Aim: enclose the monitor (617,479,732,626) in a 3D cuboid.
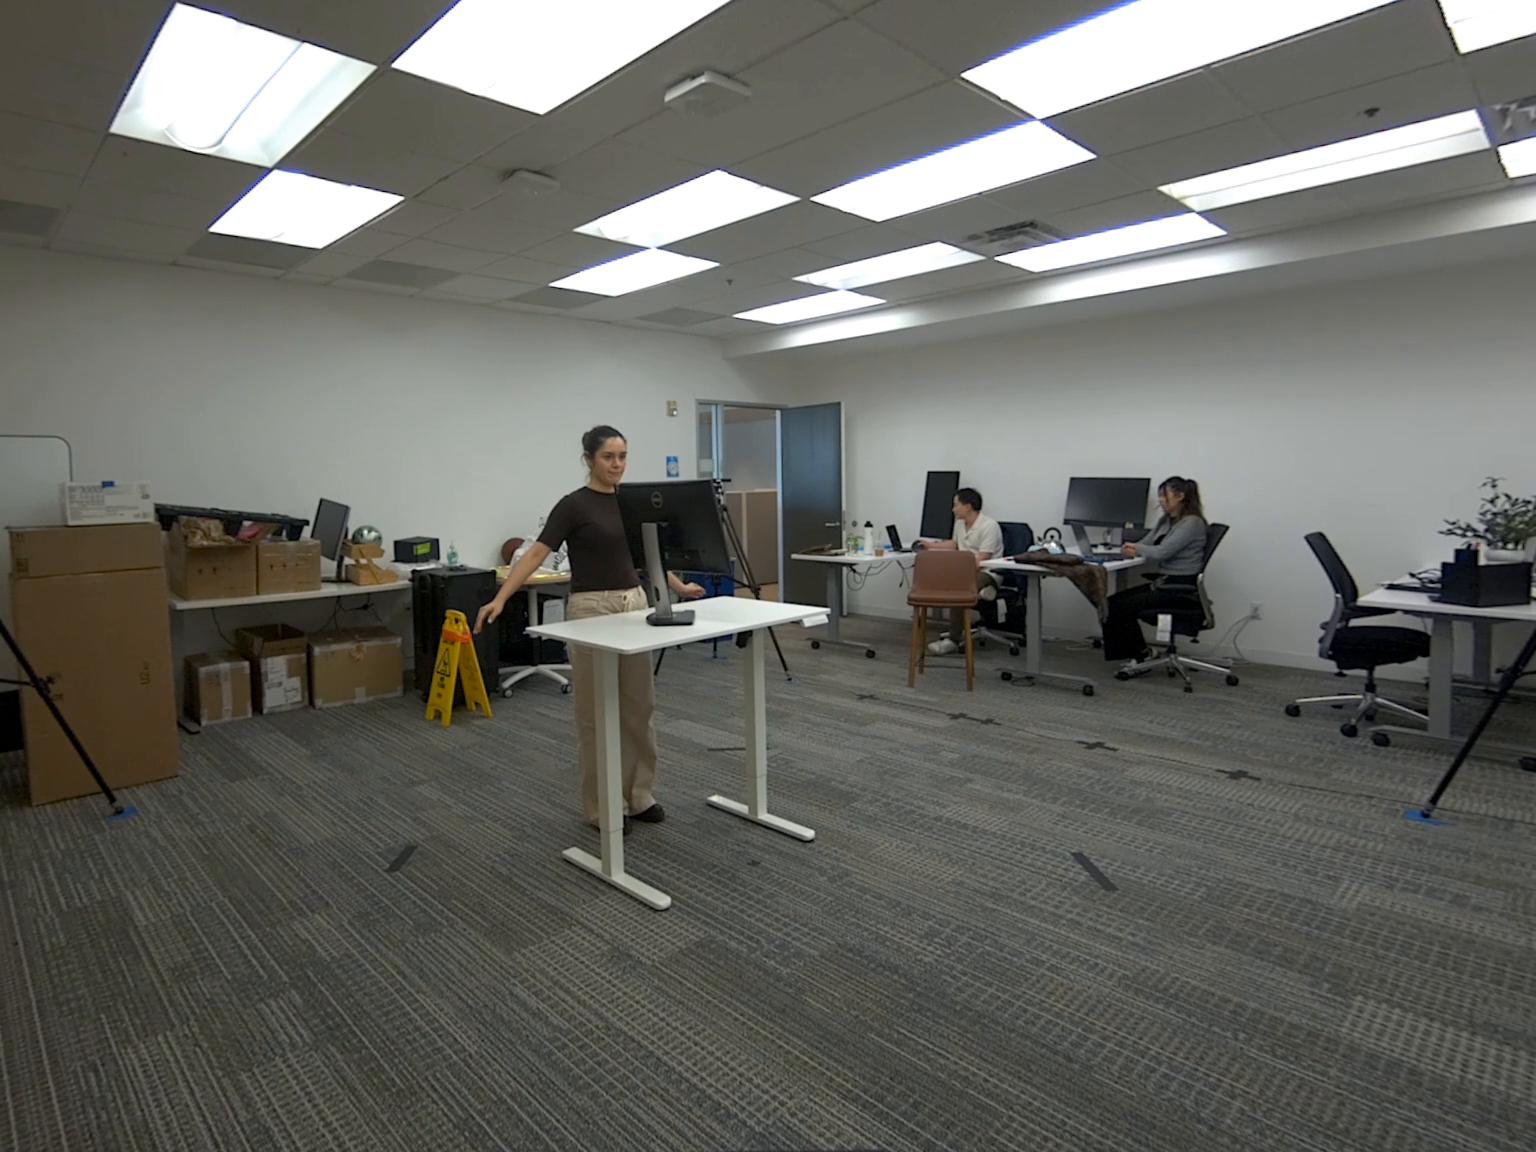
[{"bbox_3d":[-0.379,-0.091,3.158,0.555,0.522,0.182,1,3,40],"label":"monitor"}]
